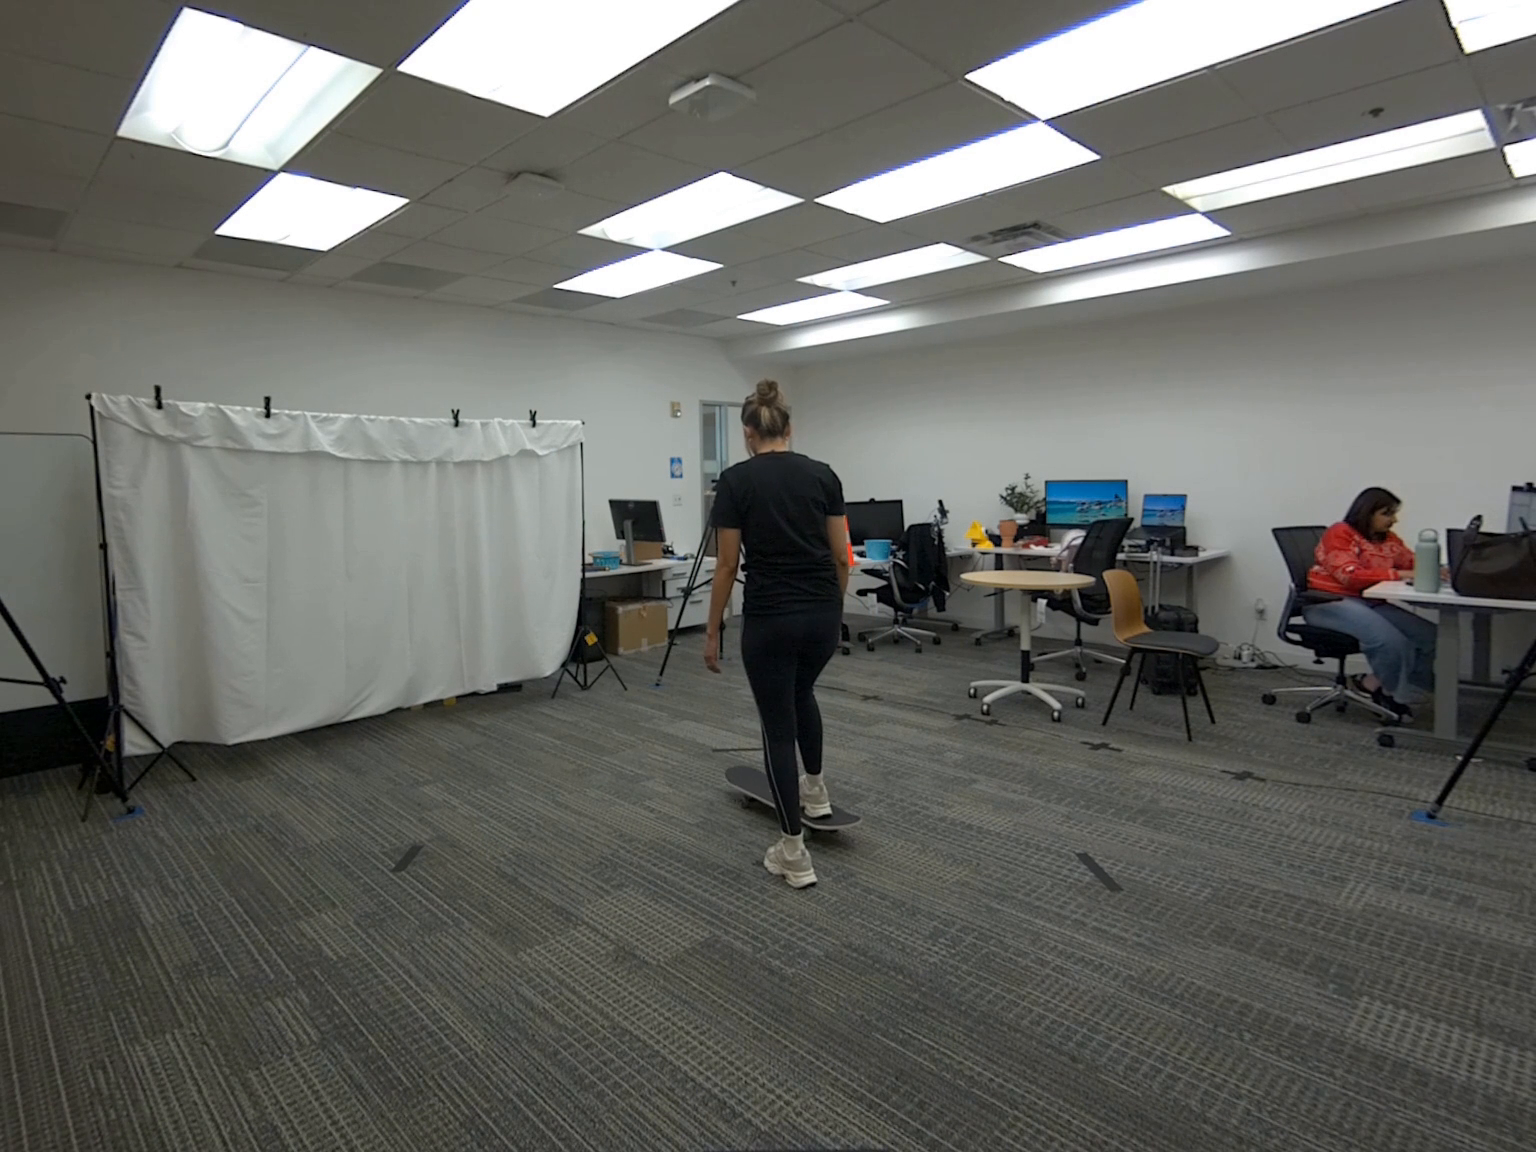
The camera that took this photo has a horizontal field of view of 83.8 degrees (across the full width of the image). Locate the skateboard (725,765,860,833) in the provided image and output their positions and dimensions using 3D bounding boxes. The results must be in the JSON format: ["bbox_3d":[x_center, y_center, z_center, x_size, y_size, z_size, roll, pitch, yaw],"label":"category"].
[{"bbox_3d":[0.089,0.946,3.525,0.188,0.110,0.809,-4,7,-34],"label":"skateboard"}]
